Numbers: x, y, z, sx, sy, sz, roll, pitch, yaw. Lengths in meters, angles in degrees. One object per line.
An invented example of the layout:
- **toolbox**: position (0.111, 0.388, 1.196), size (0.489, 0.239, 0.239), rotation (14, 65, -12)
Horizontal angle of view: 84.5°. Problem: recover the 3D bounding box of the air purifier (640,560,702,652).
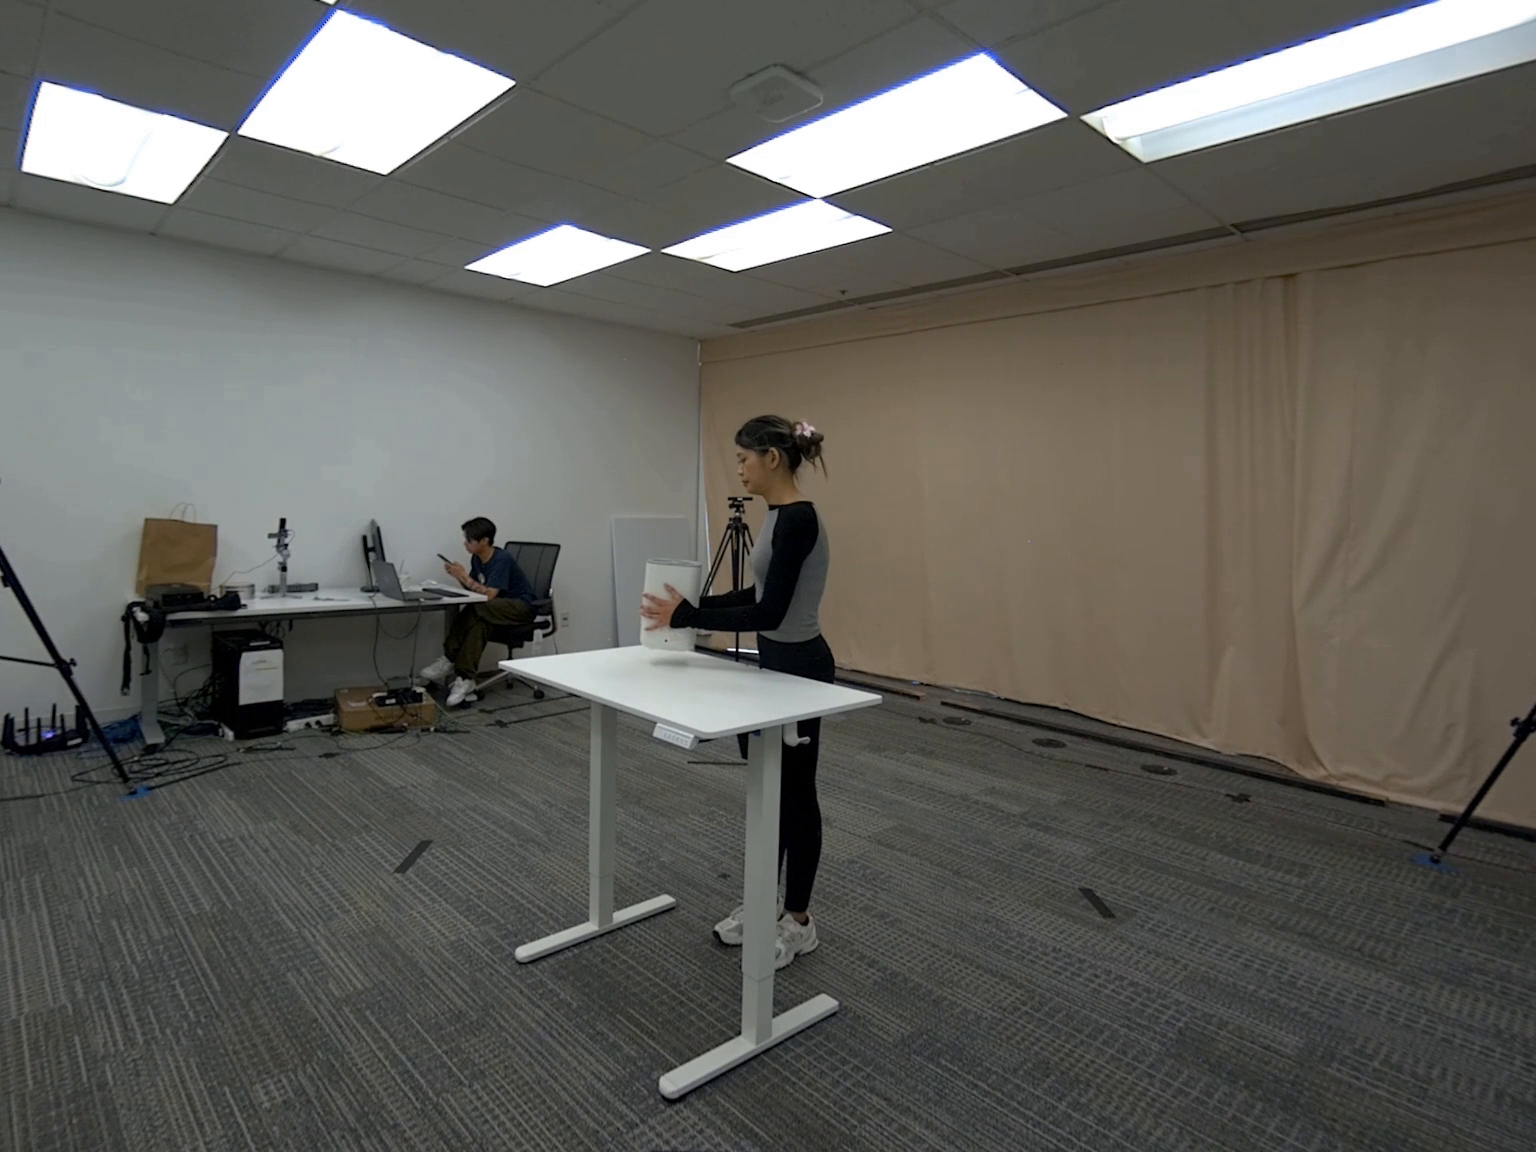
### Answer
- **air purifier**: position (-0.297, 0.094, 2.589), size (0.171, 0.265, 0.172), rotation (5, 2, -1)
